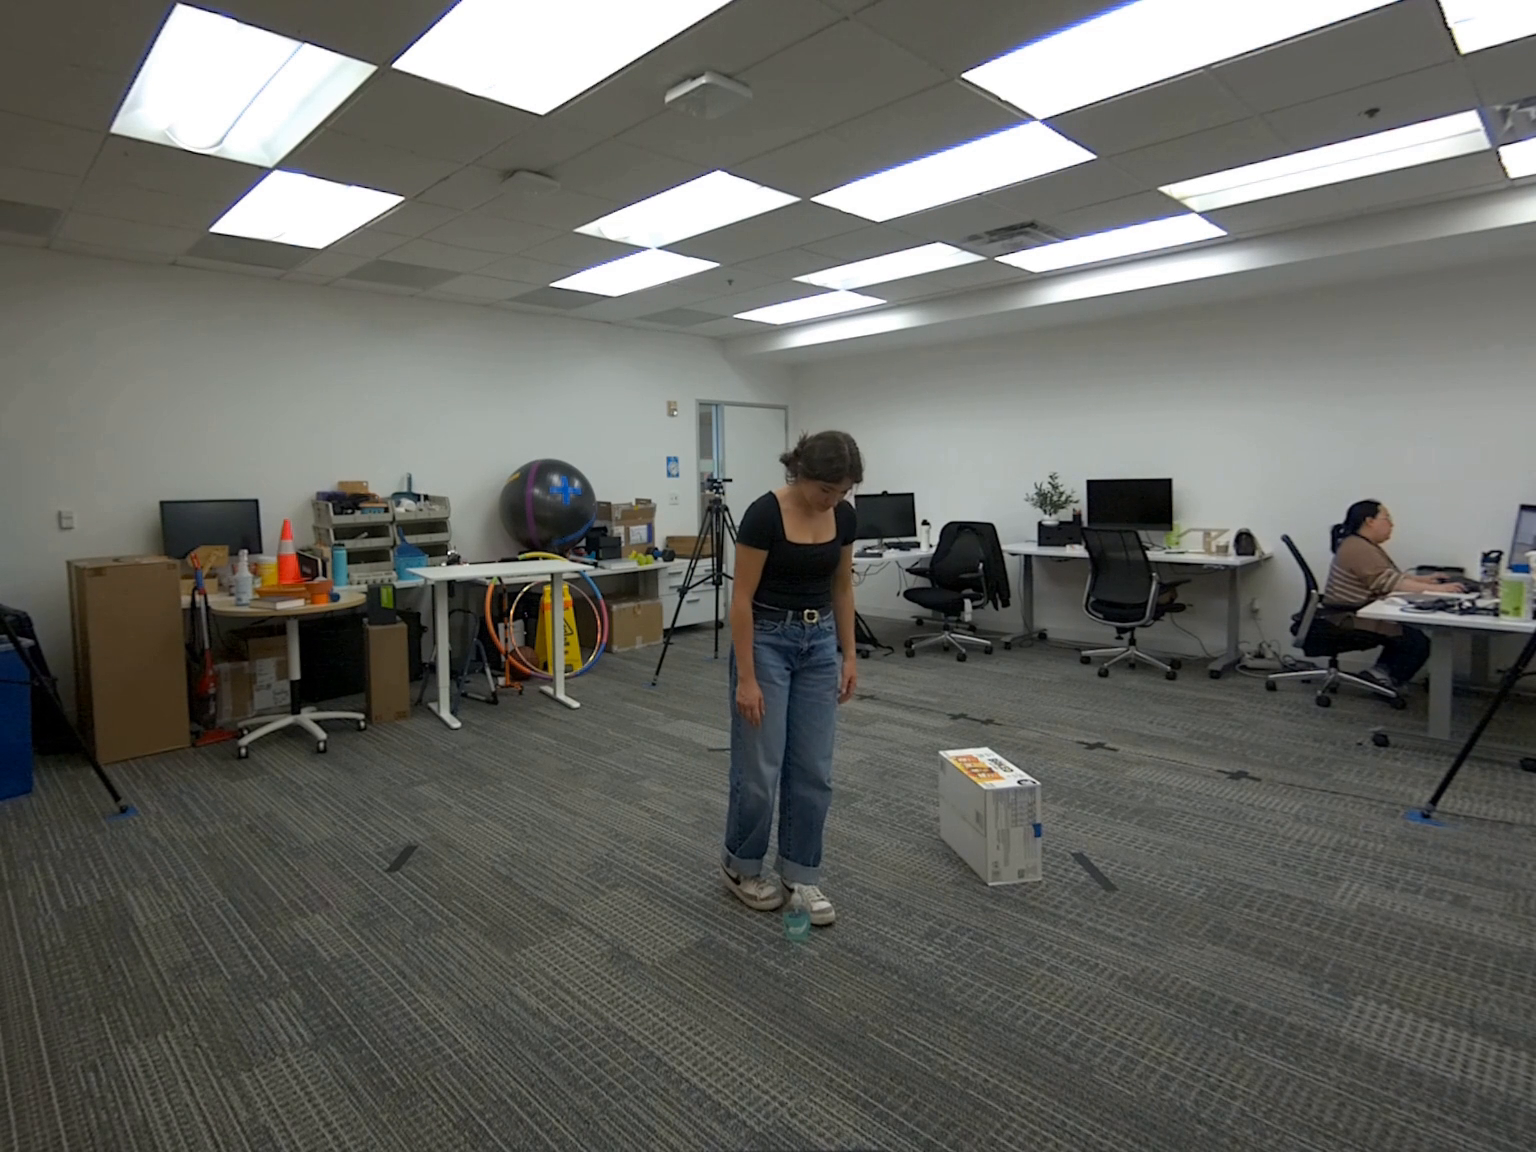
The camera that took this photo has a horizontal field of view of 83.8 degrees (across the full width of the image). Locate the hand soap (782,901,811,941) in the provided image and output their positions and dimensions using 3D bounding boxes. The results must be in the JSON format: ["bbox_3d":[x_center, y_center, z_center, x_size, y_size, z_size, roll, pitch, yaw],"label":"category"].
[{"bbox_3d":[0.096,1.022,2.591,0.085,0.168,0.043,5,1,9],"label":"hand soap"}]
